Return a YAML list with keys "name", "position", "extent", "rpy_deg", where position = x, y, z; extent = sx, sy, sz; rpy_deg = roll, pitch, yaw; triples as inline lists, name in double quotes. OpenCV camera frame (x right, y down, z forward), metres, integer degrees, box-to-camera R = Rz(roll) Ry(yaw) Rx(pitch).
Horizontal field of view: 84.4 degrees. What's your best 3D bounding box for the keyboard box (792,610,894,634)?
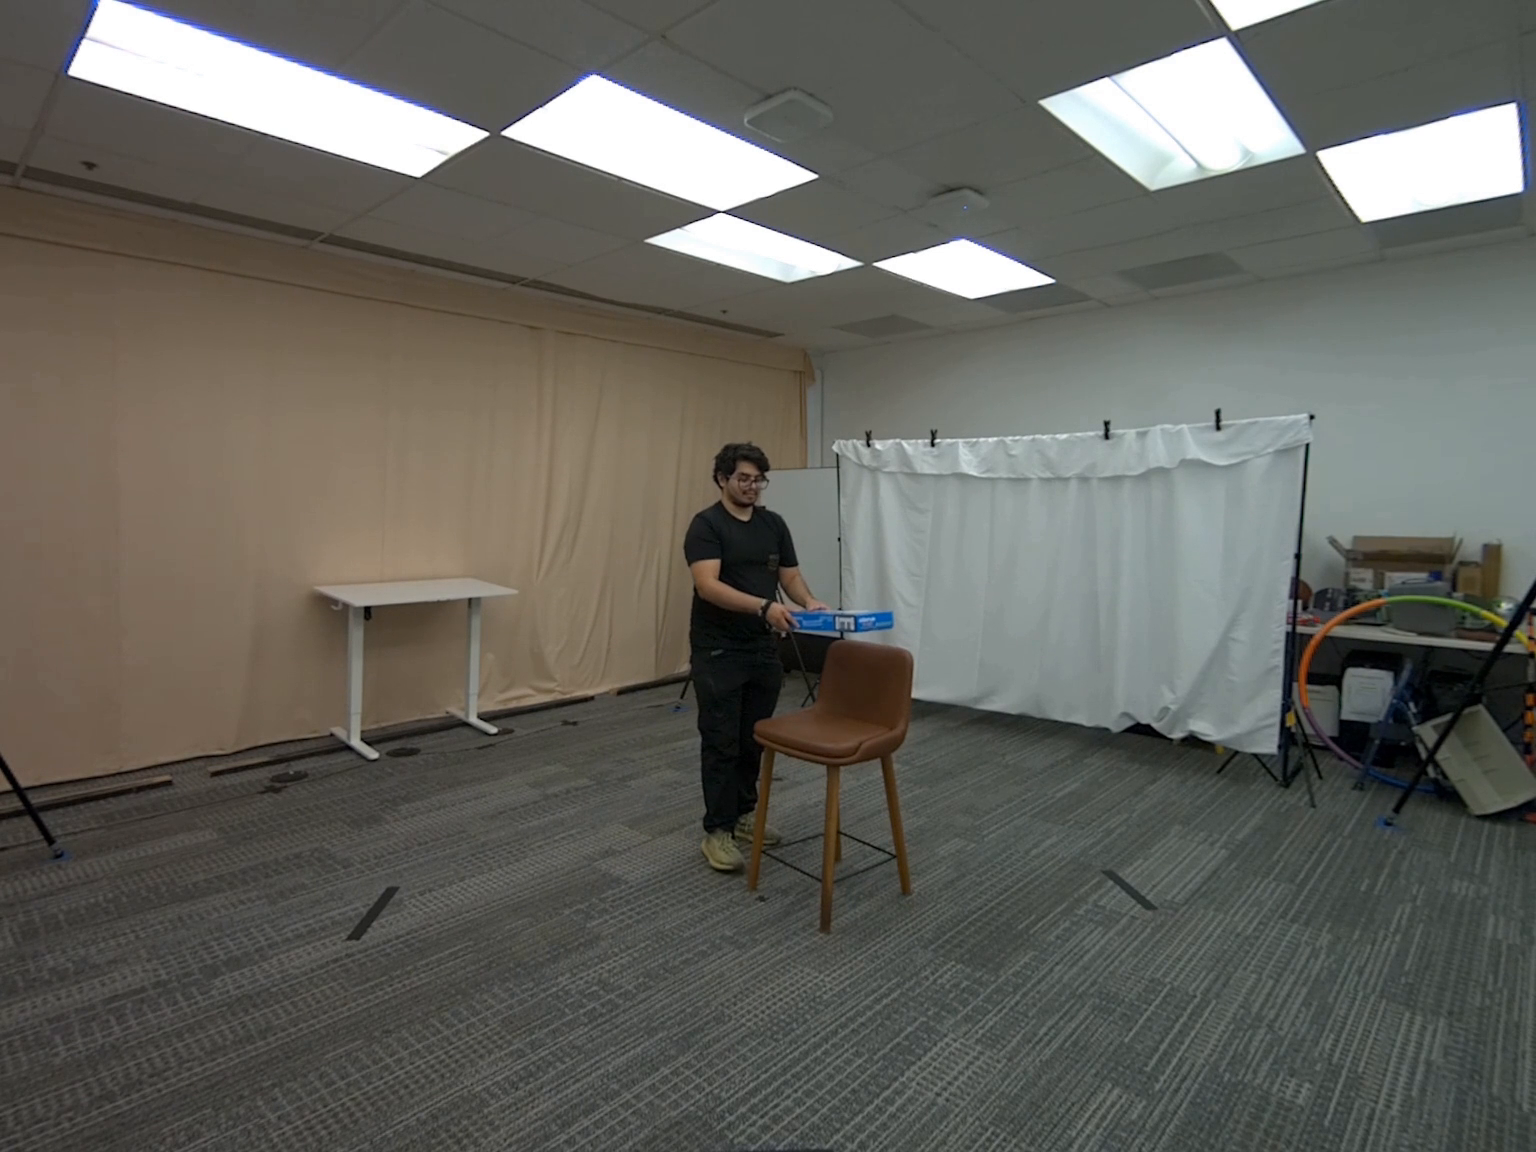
- name: "keyboard box"
  position: [0.245, 0.160, 3.009]
  extent: [0.171, 0.059, 0.449]
  rpy_deg: [-3, 0, -35]
